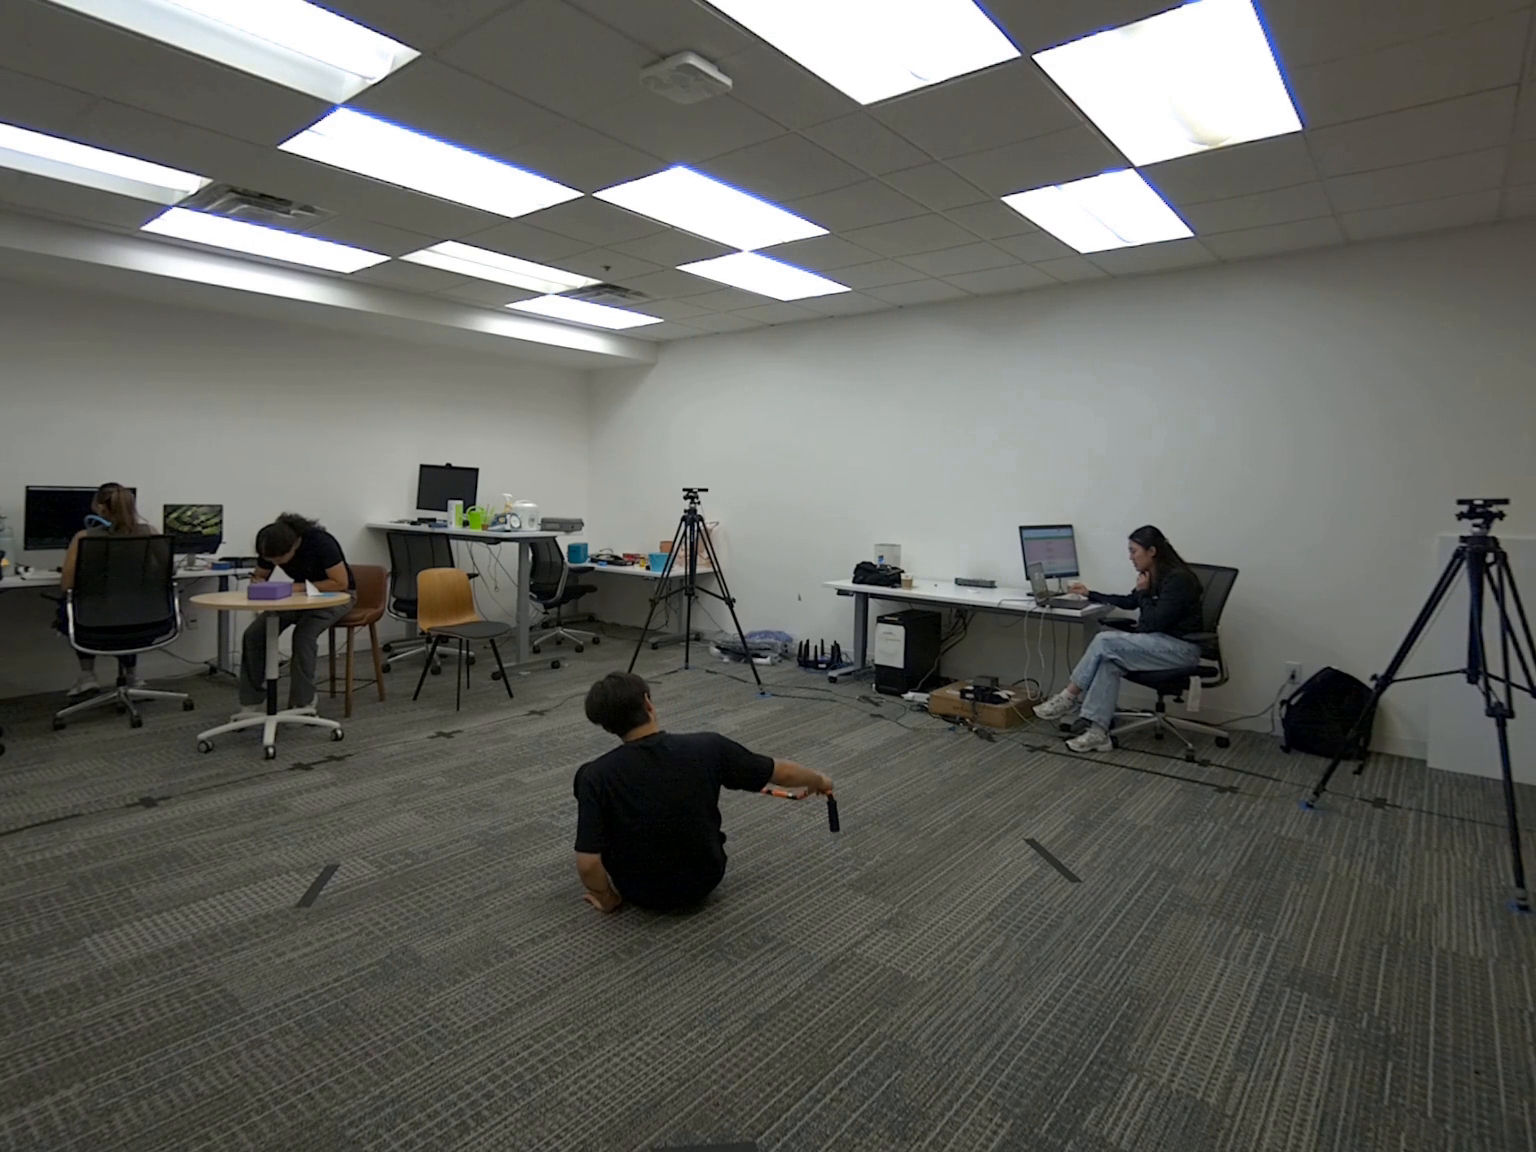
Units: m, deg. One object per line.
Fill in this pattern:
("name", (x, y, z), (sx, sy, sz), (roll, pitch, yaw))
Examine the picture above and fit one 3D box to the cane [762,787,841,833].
("cane", (-0.033, 0.852, 3.466), (0.147, 0.207, 0.931), (2, -5, -36))
